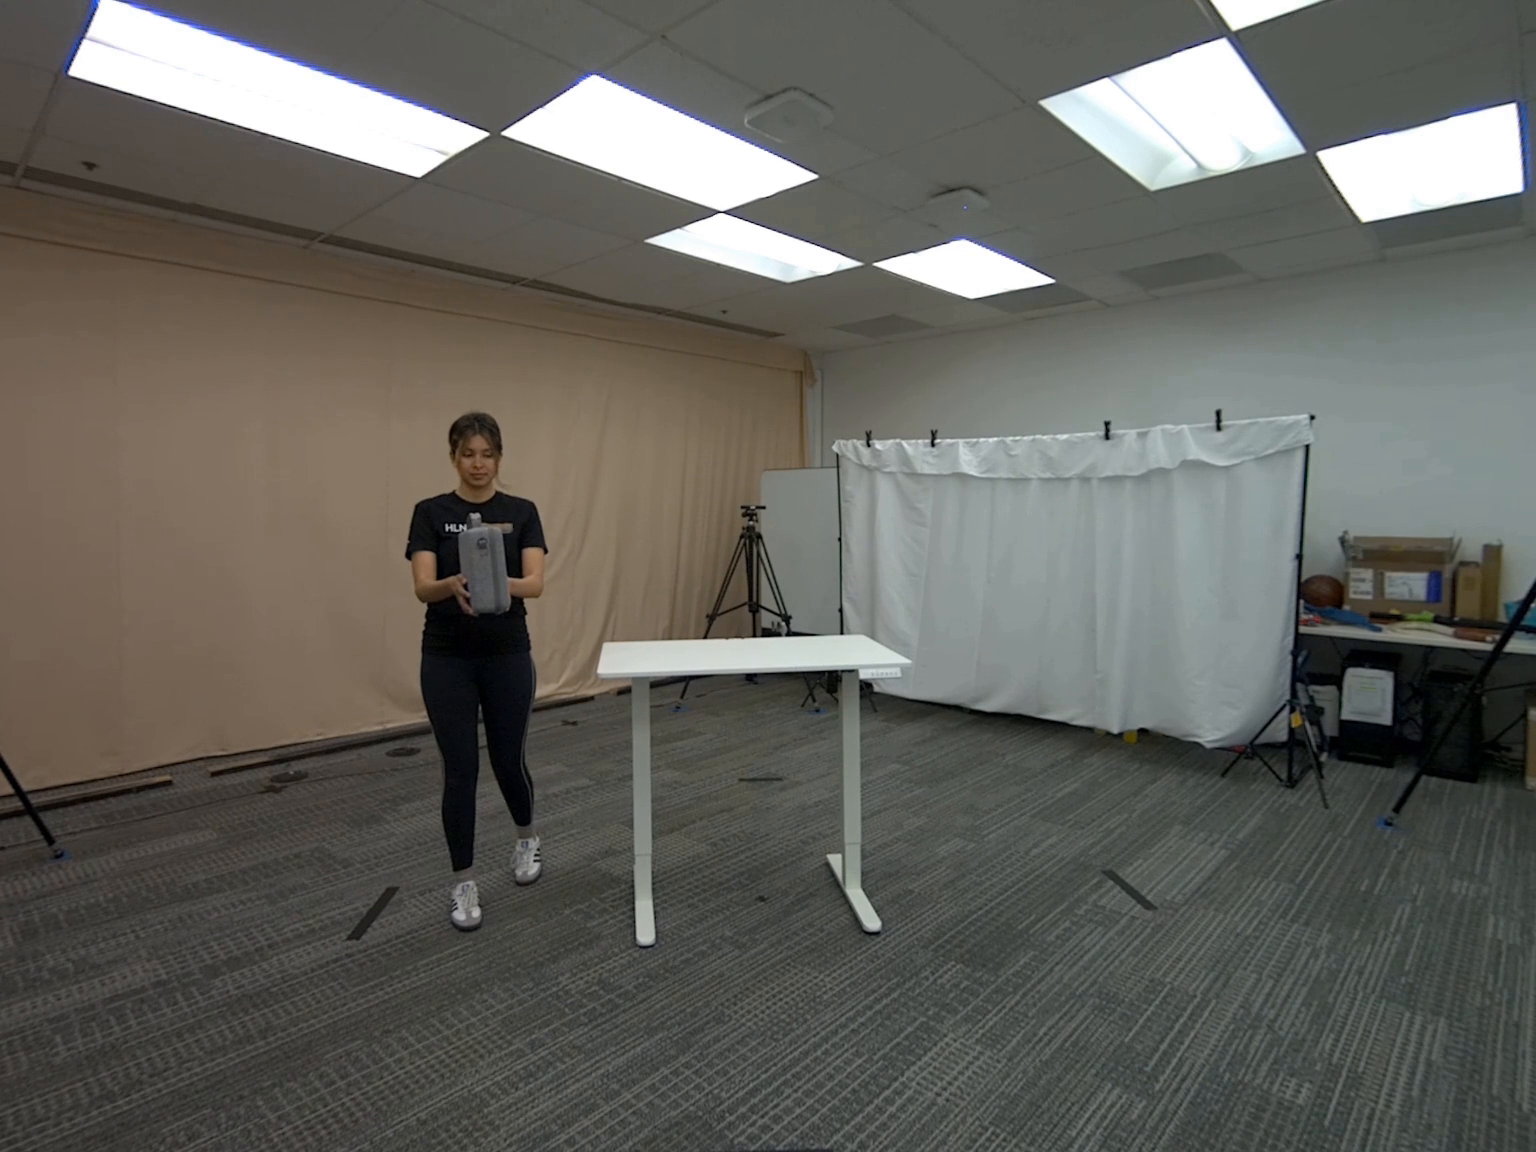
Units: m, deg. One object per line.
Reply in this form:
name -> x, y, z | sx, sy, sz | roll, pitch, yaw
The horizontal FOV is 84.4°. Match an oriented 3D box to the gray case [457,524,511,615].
gray case -> -0.864, -0.024, 2.516 | 0.101, 0.261, 0.263 | -3, 0, -29
